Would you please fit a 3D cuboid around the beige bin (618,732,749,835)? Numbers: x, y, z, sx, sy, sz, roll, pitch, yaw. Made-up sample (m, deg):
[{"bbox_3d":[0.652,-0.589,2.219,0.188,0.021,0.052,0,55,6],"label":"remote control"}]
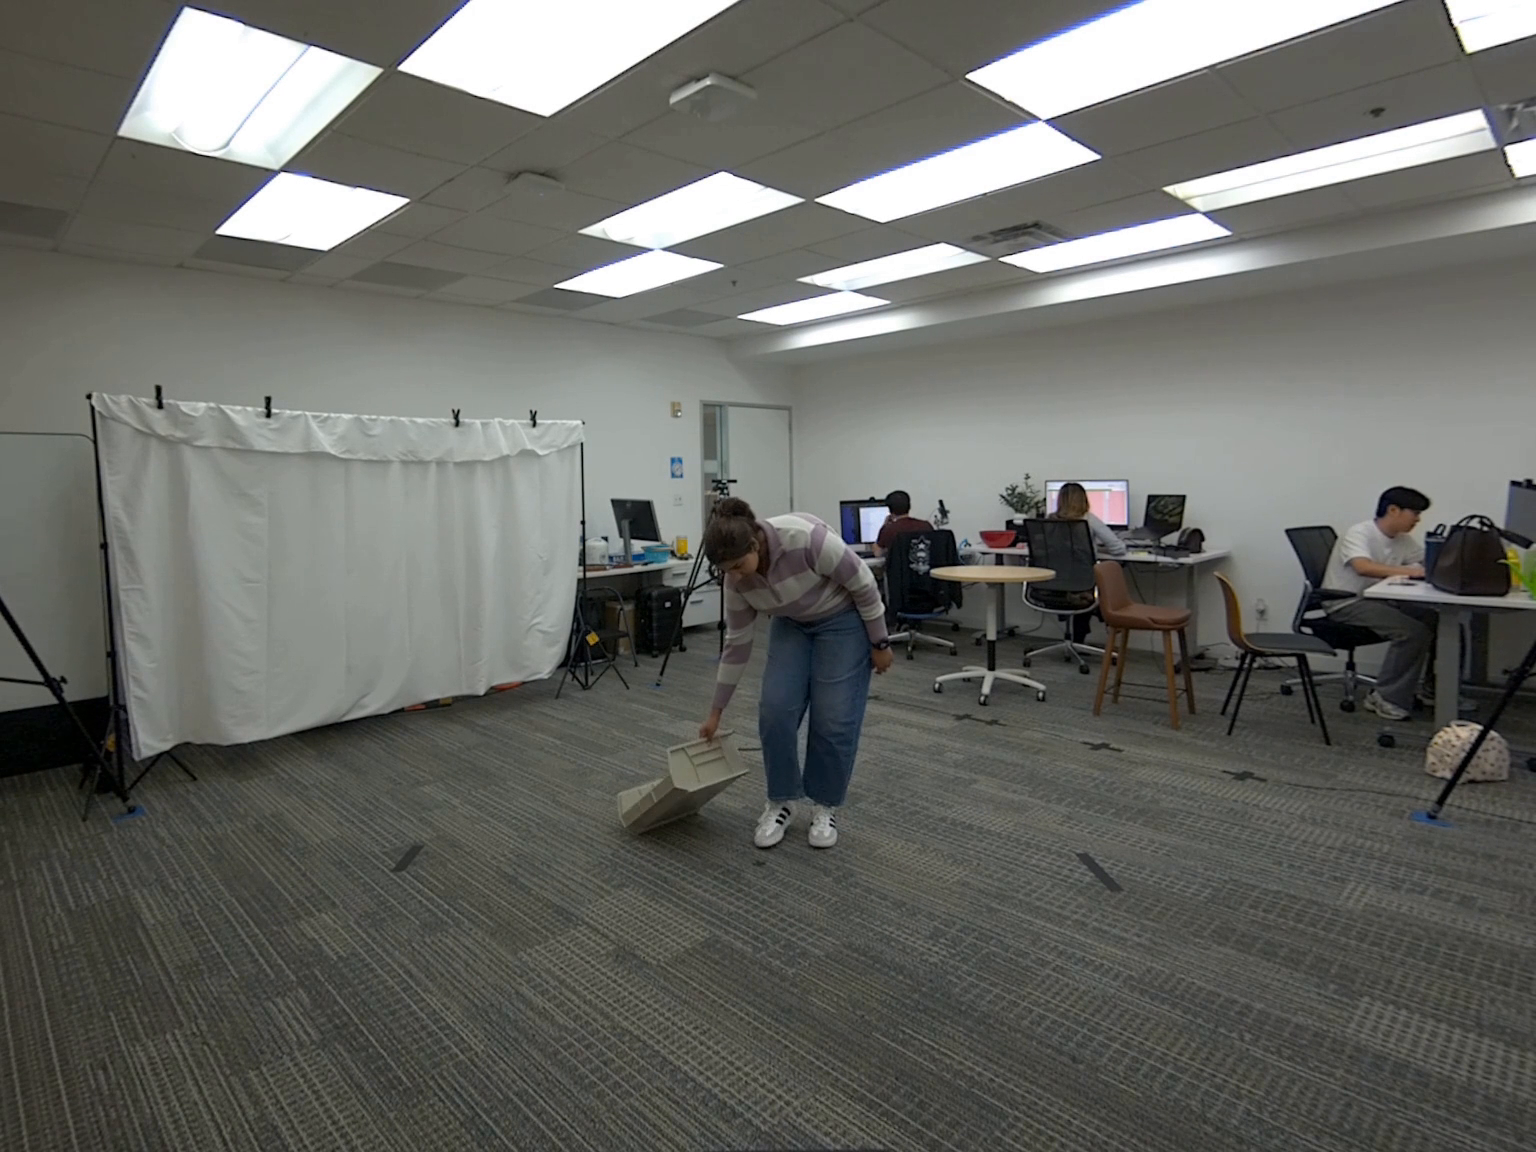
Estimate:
[{"bbox_3d":[-0.344,0.826,3.391,0.367,0.194,0.422,-5,-31,-44],"label":"beige bin"}]
